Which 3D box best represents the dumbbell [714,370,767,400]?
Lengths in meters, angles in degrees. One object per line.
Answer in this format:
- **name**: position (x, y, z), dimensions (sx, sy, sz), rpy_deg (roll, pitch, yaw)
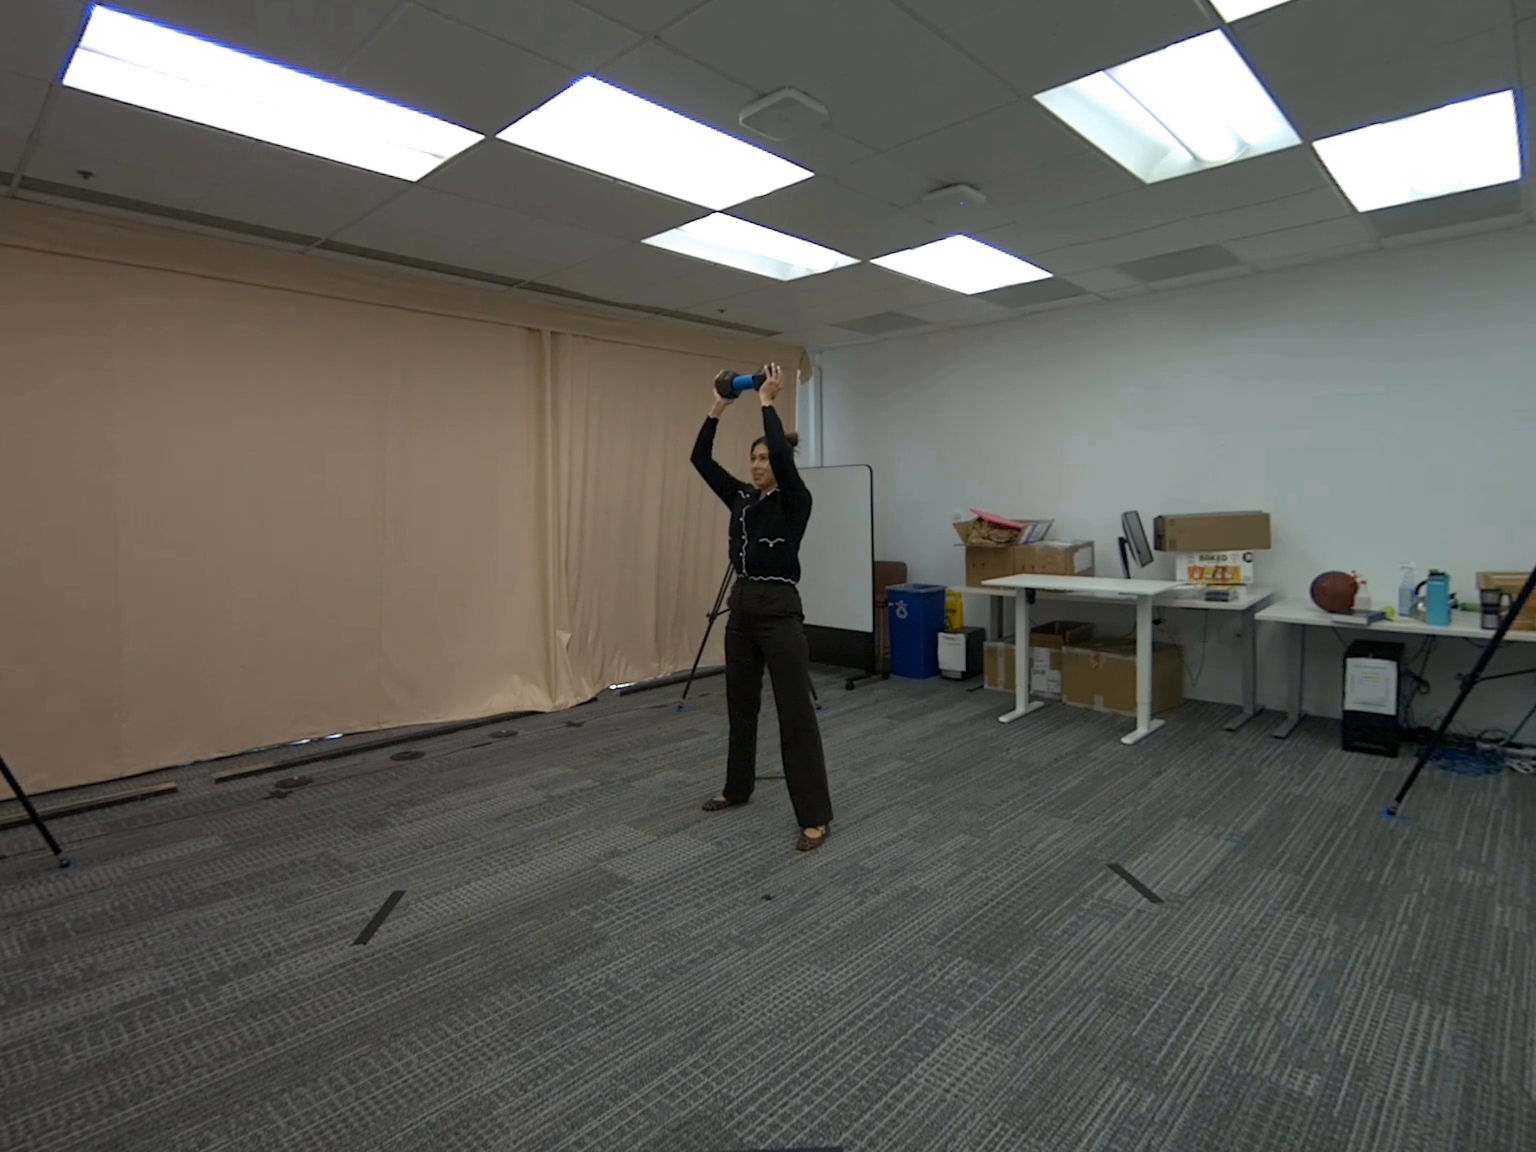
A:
- **dumbbell**: position (-0.083, -0.811, 3.563), dimensions (0.303, 0.105, 0.122), rpy_deg (5, 50, 44)
